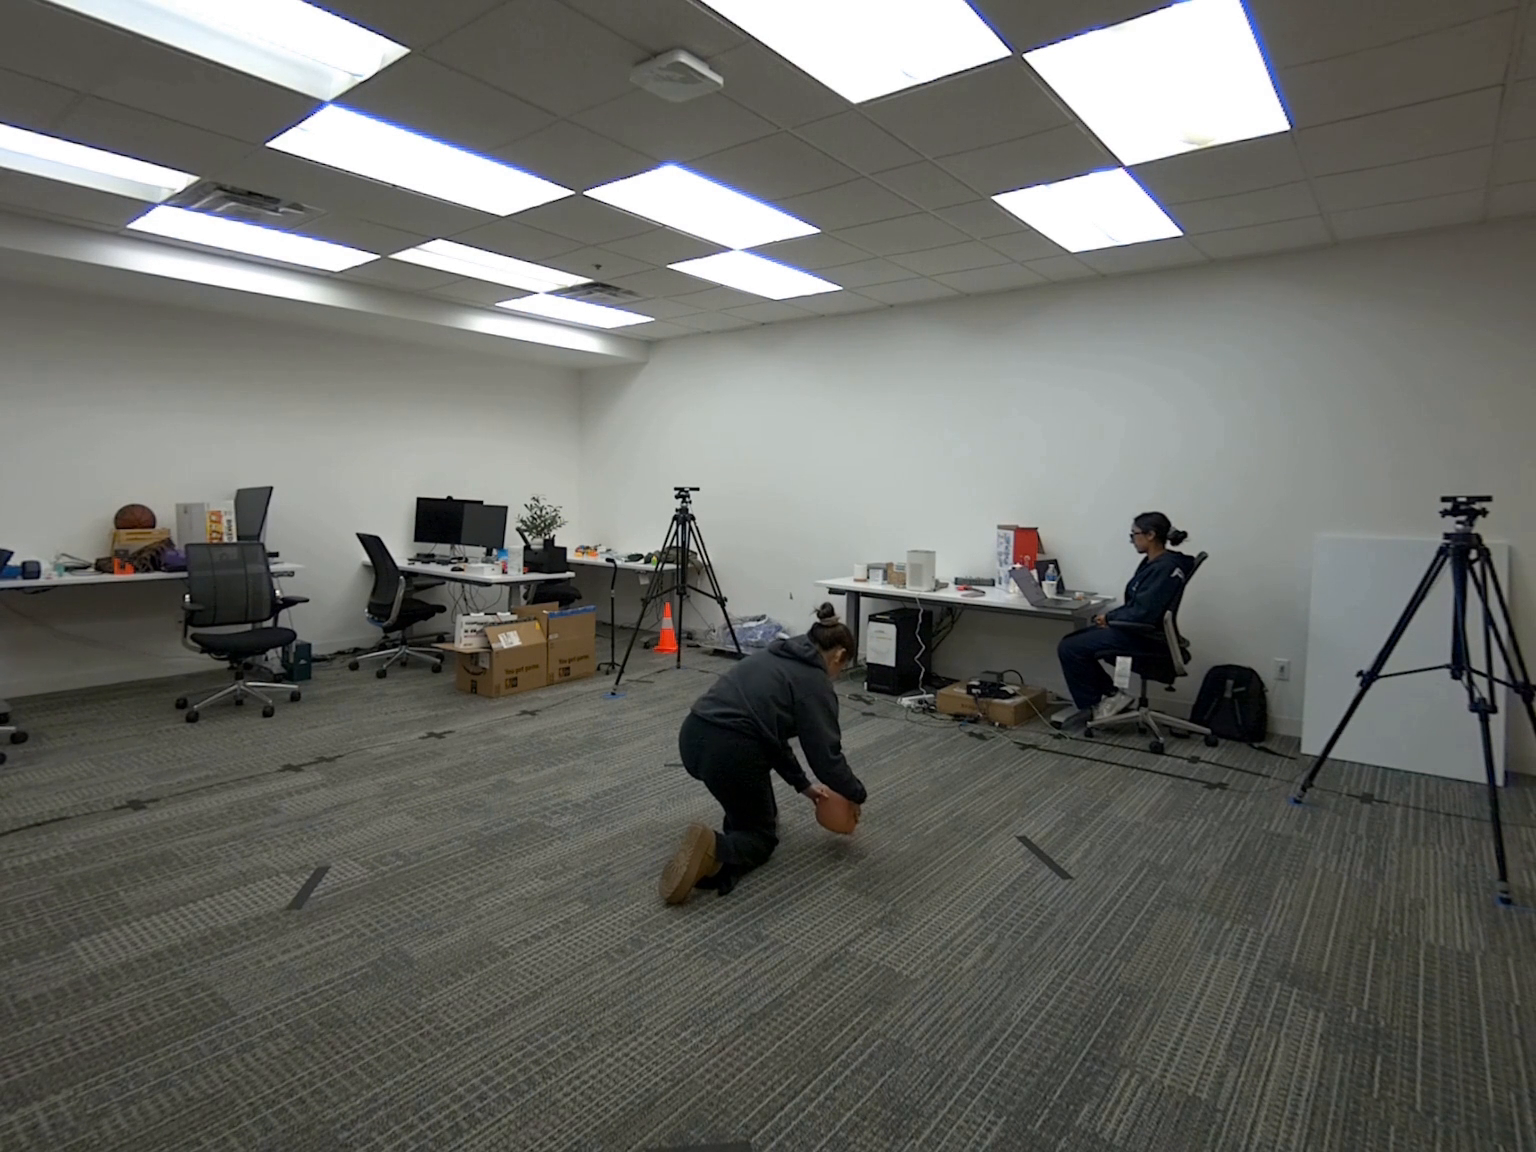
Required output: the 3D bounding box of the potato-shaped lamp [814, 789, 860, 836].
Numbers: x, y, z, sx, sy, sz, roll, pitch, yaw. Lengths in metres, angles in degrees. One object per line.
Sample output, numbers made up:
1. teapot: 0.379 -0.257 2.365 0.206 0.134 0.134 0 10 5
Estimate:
1. potato-shaped lamp: 0.278 0.904 3.352 0.165 0.198 0.171 20 -2 -42
